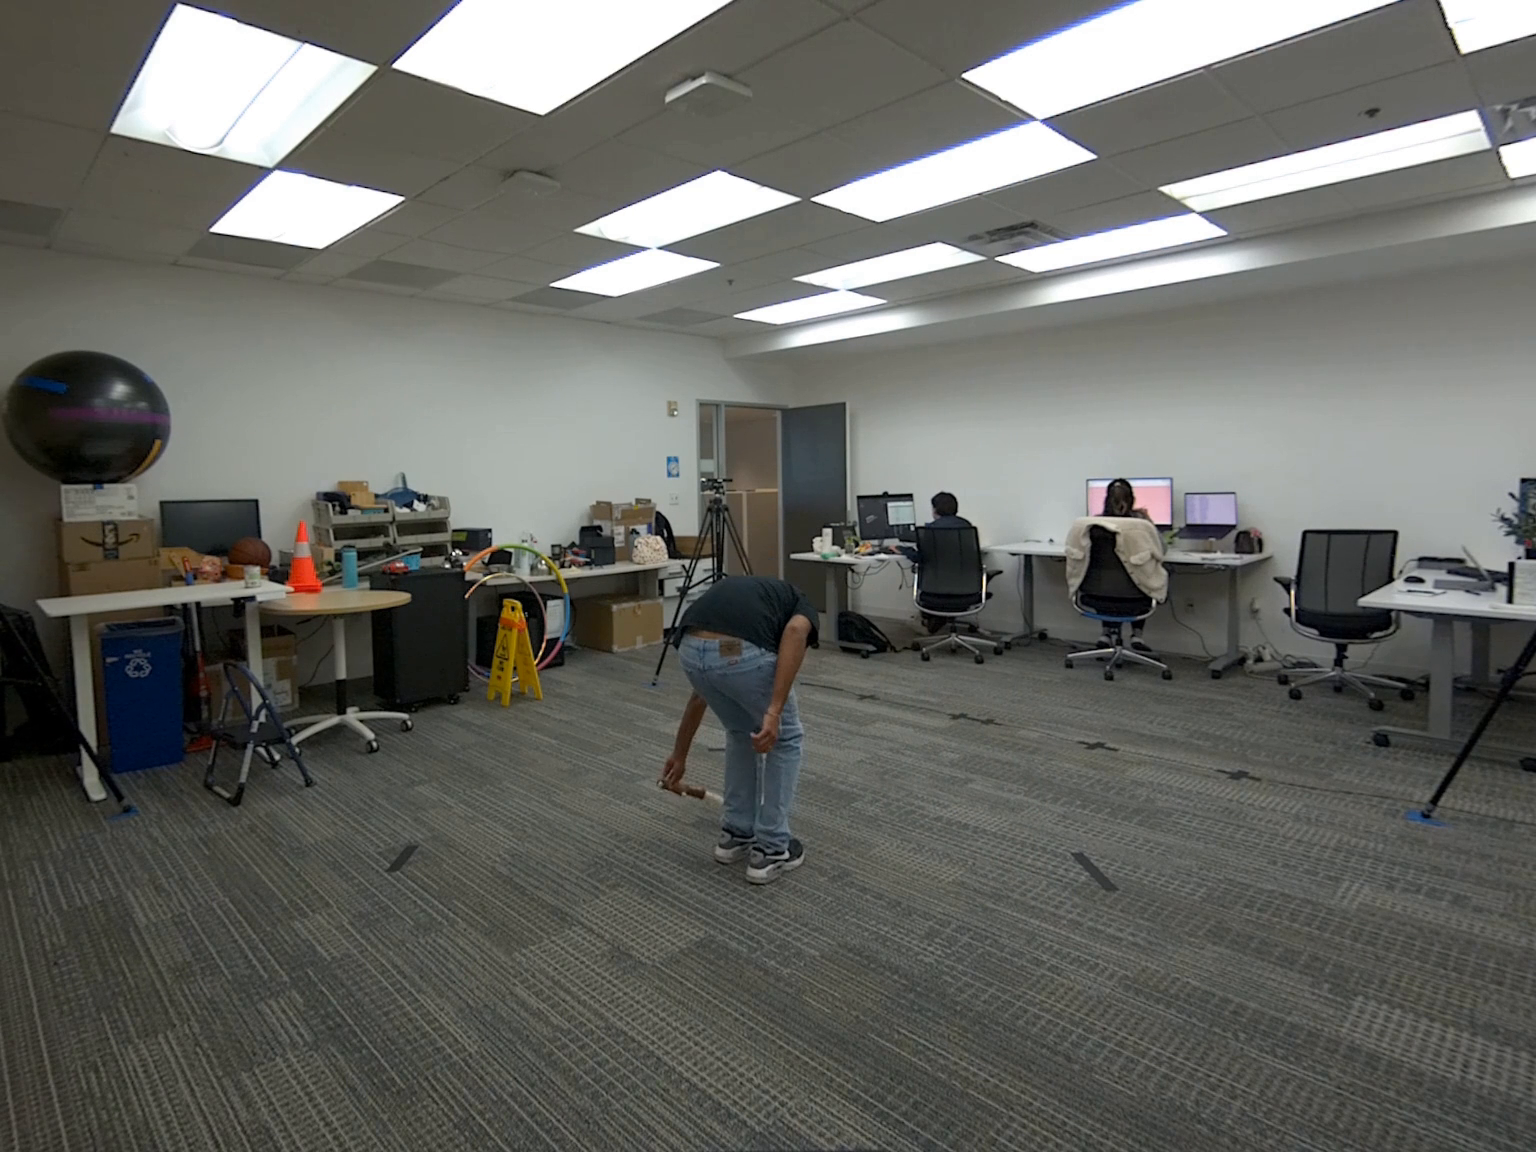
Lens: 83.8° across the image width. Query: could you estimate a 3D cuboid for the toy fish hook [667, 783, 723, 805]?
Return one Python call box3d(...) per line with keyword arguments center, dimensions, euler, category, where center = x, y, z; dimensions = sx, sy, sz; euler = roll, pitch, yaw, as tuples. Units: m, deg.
box3d(center=(-0.212, 0.888, 3.543), dimensions=(0.500, 0.048, 0.229), euler=(18, 12, -11), category="toy fish hook")
